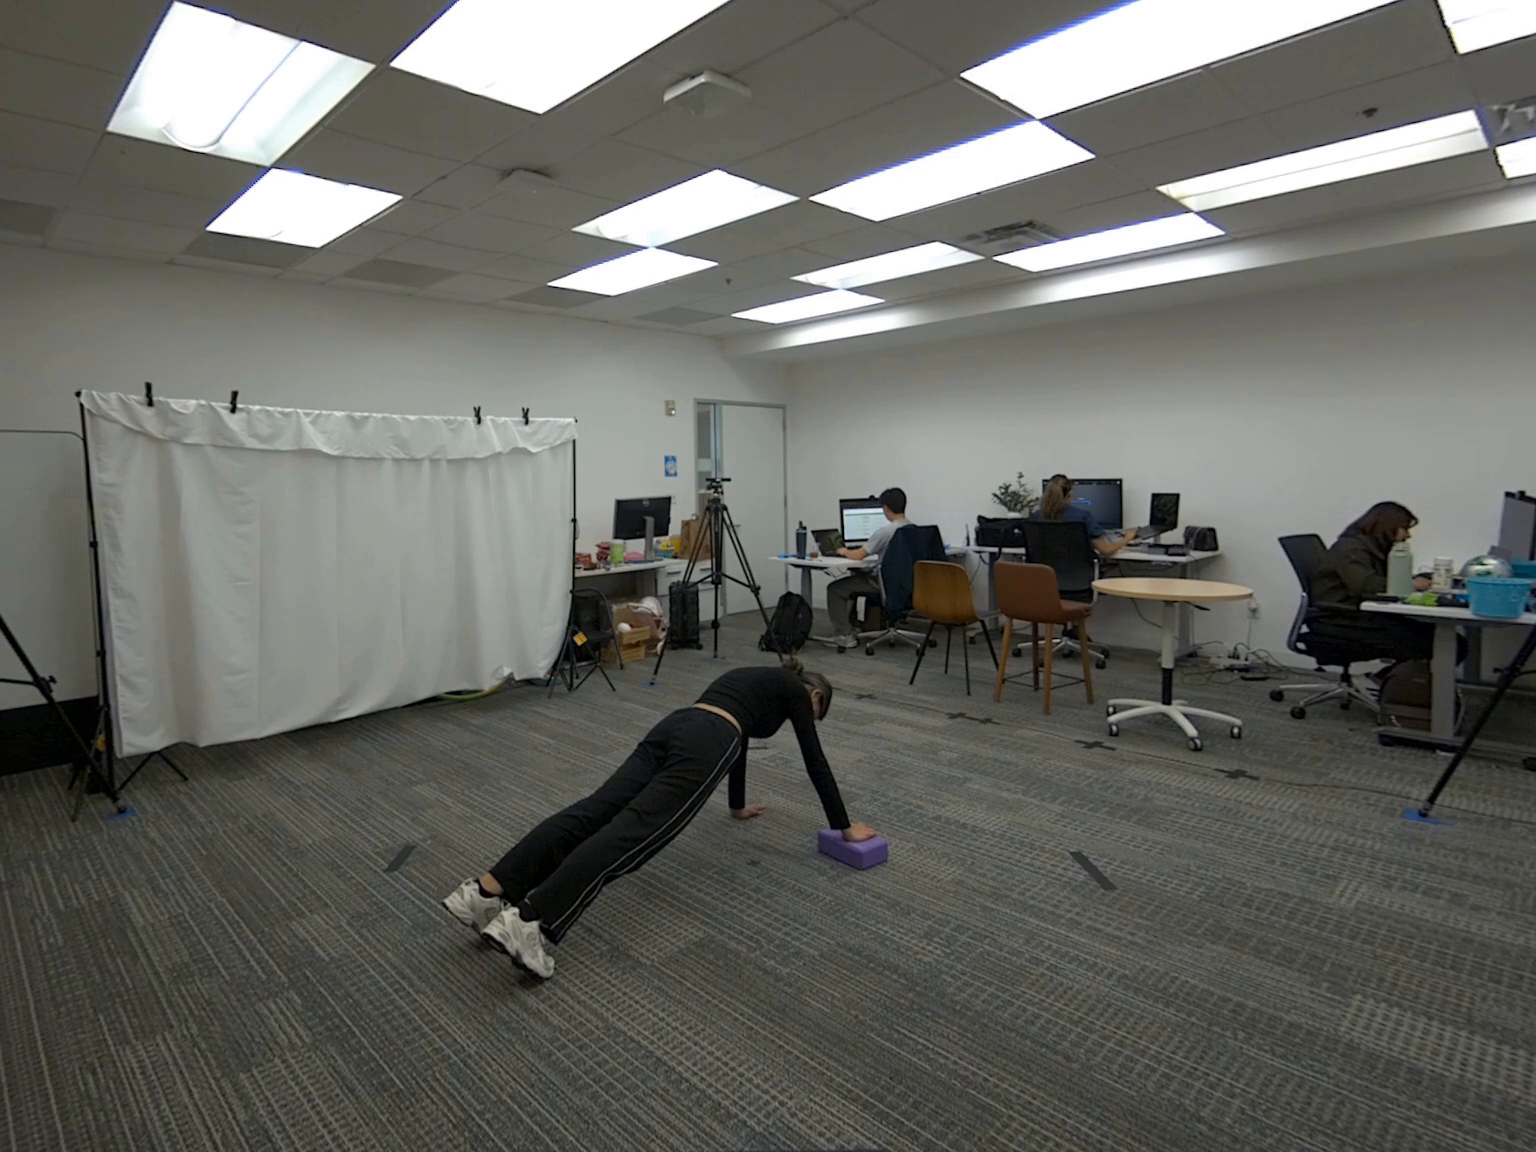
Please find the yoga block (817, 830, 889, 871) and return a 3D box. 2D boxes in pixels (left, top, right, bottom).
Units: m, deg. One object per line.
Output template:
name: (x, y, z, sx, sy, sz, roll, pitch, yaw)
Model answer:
yoga block: (0.310, 0.994, 3.151, 0.145, 0.076, 0.236, -5, 9, -37)
